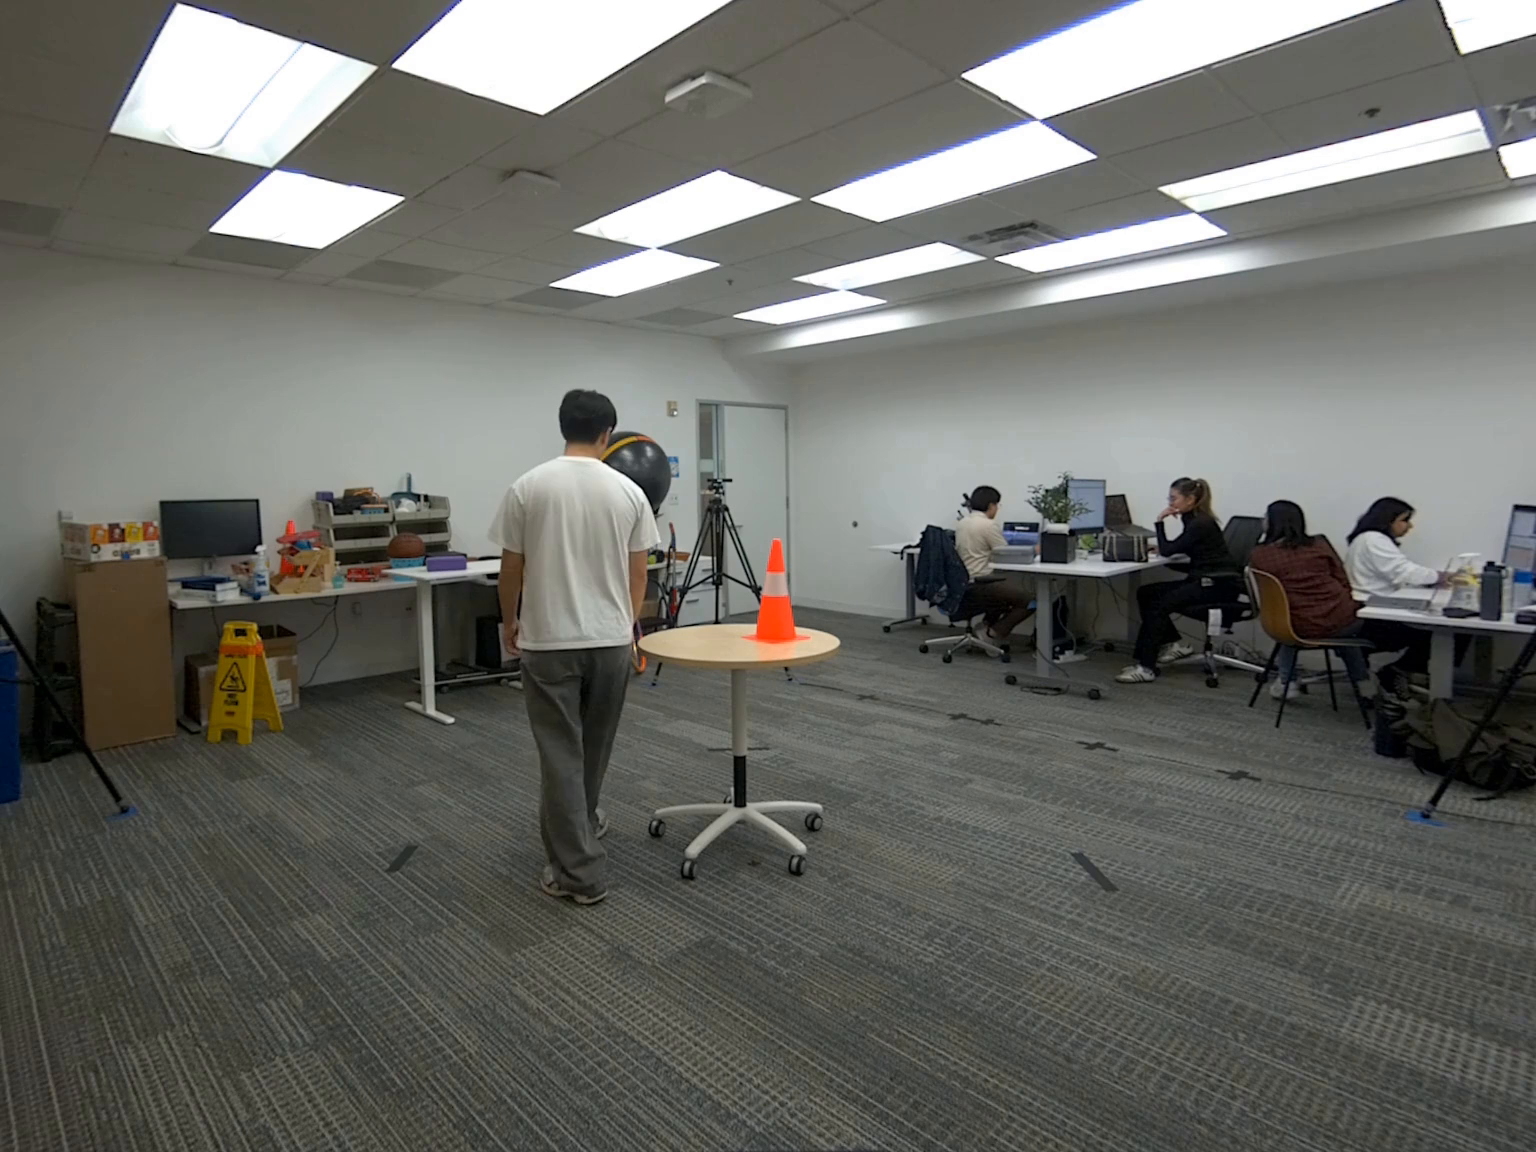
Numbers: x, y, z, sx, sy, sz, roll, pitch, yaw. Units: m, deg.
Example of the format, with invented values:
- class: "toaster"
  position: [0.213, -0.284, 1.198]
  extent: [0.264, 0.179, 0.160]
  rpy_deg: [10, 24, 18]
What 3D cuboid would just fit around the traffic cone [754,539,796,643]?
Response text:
- class: "traffic cone"
  position: [0.026, 0.054, 3.305]
  extent: [0.209, 0.382, 0.199]
  rpy_deg: [3, 5, 43]
